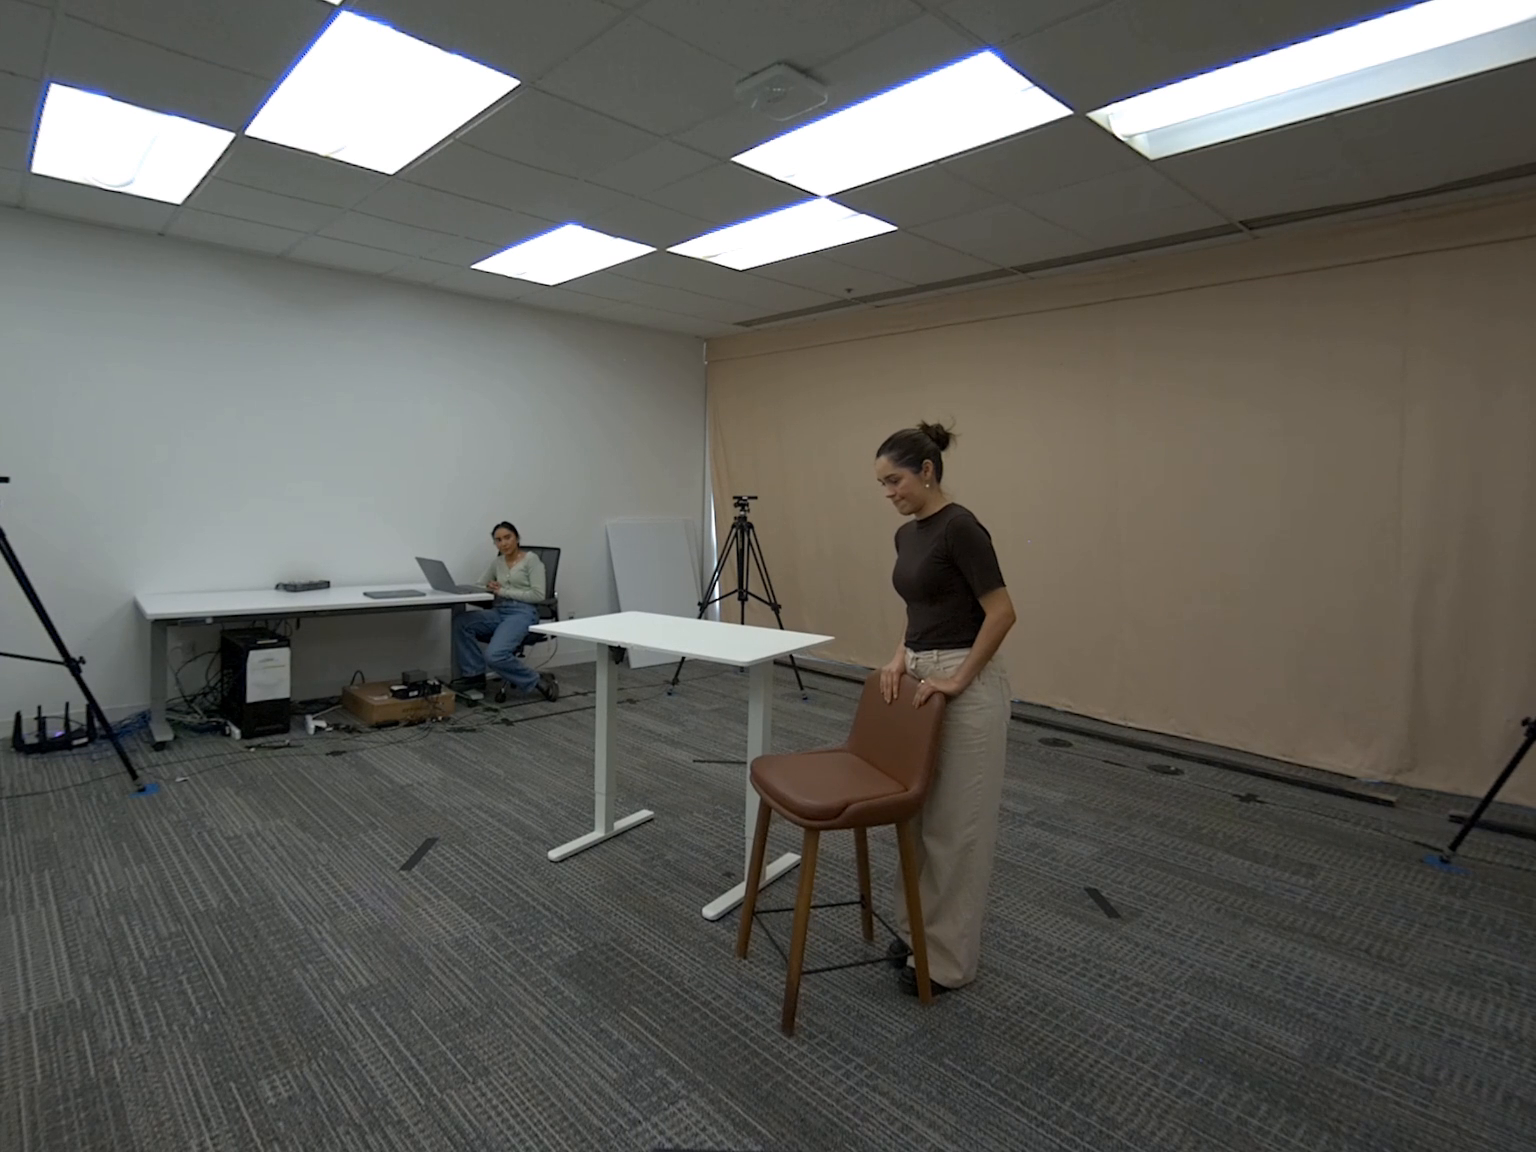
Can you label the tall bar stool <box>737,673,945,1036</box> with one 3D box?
[{"bbox_3d":[0.198,0.734,2.411,0.461,0.888,0.464,2,3,-19],"label":"tall bar stool"}]
